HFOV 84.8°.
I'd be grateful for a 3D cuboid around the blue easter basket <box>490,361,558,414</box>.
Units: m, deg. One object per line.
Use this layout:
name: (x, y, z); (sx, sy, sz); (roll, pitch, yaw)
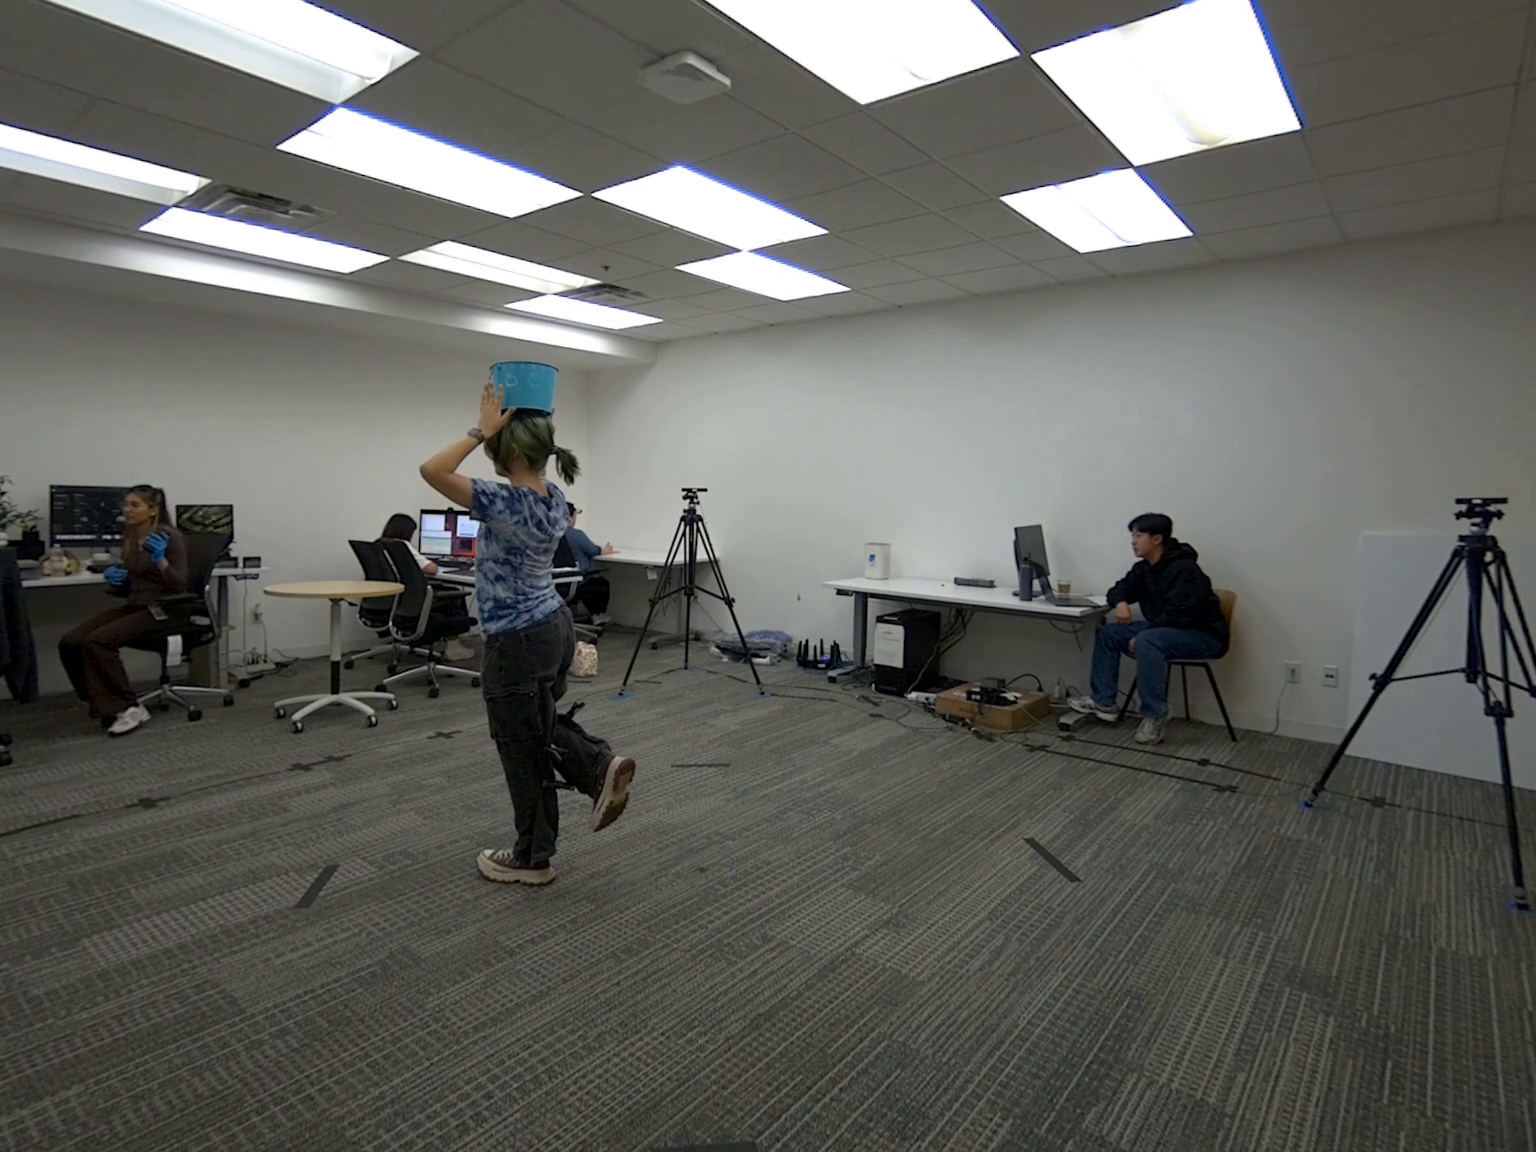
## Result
blue easter basket: (-0.850, -0.627, 2.897); (0.243, 0.156, 0.244); (-2, 0, -2)
